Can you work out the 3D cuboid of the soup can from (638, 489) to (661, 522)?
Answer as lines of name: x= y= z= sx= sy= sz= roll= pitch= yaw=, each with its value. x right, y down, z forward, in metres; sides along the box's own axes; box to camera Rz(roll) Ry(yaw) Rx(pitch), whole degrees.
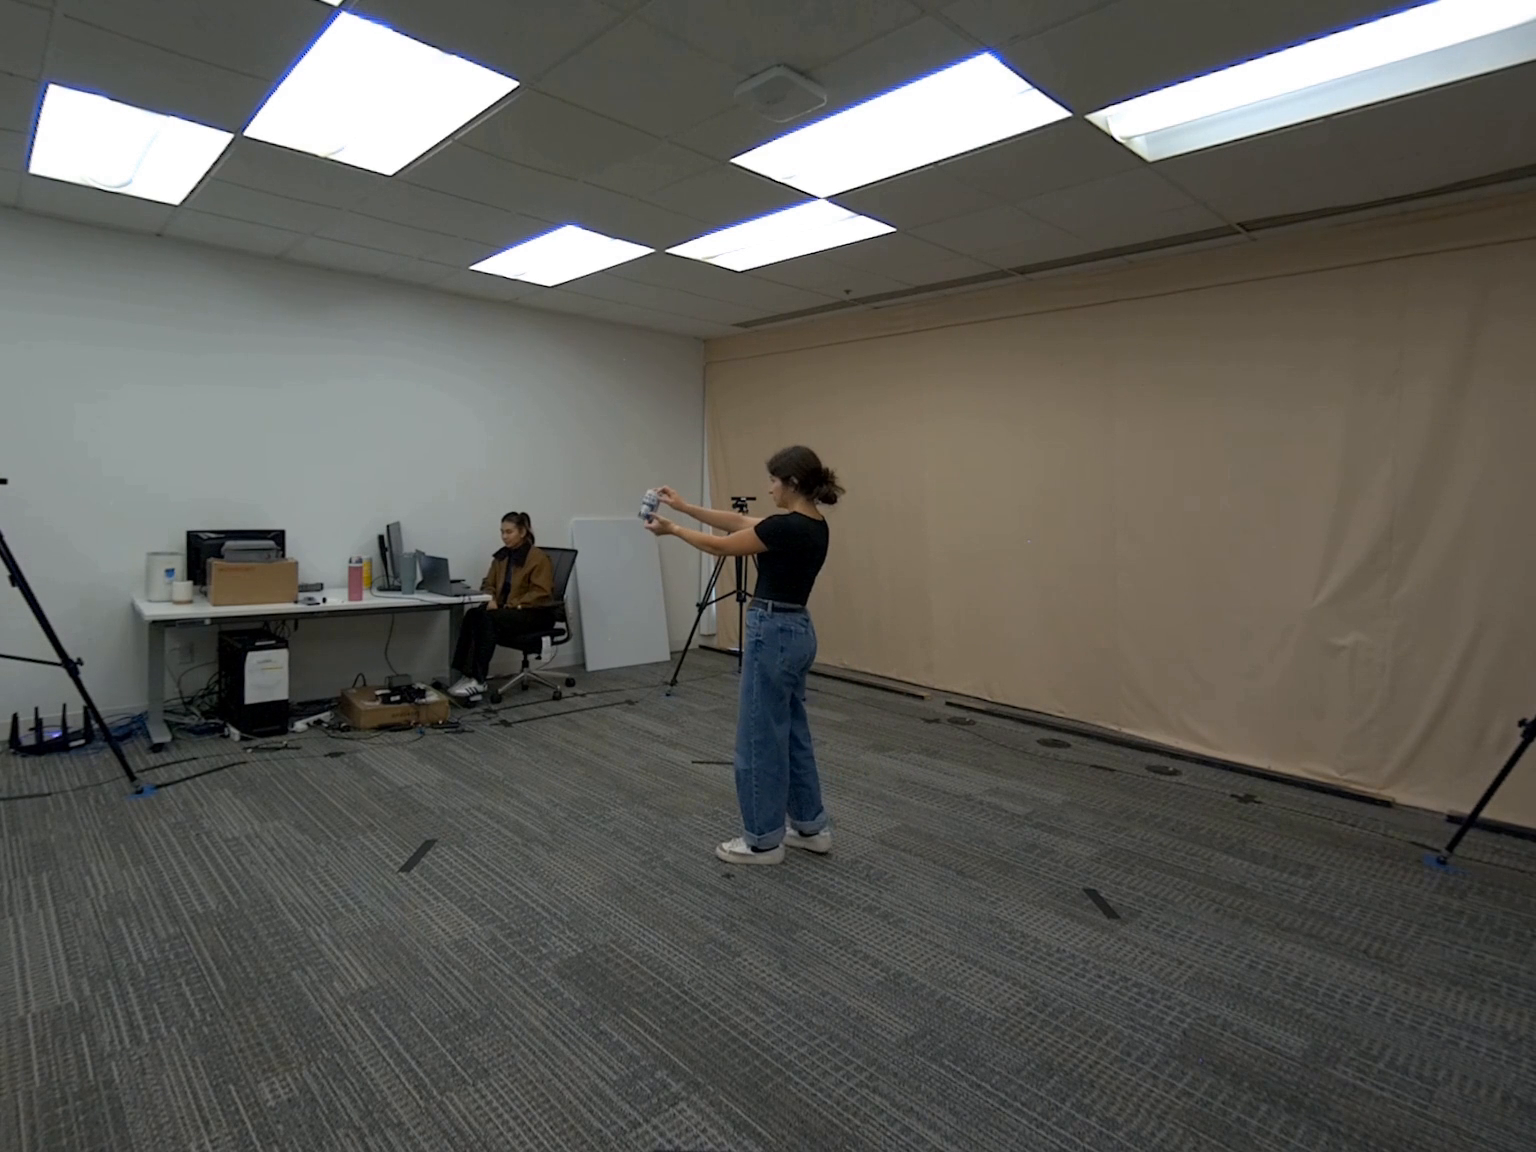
soup can: x=-0.475 y=-0.283 z=3.396 sx=0.067 sy=0.121 sz=0.067 roll=17 pitch=5 yaw=-3
